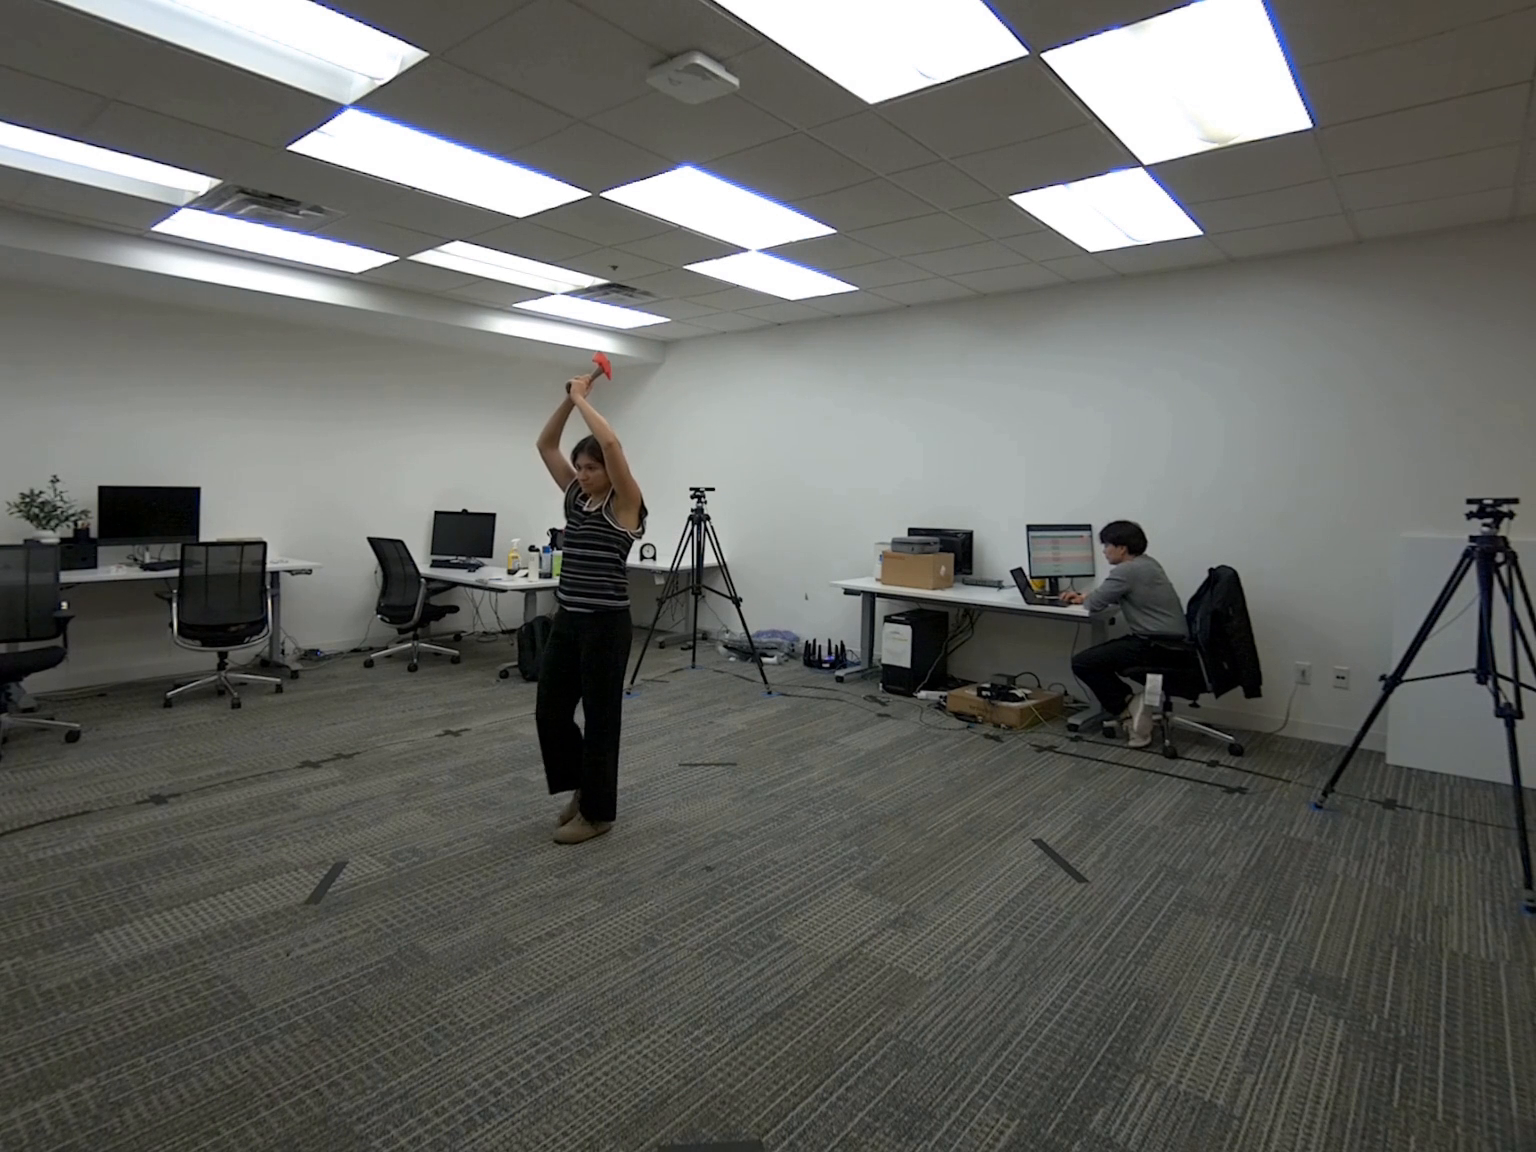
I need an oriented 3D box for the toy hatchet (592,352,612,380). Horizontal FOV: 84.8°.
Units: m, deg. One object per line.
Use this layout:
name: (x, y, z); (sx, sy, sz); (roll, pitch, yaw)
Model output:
toy hatchet: (-0.721, -0.809, 3.327); (0.030, 0.128, 0.268); (8, 26, 27)
